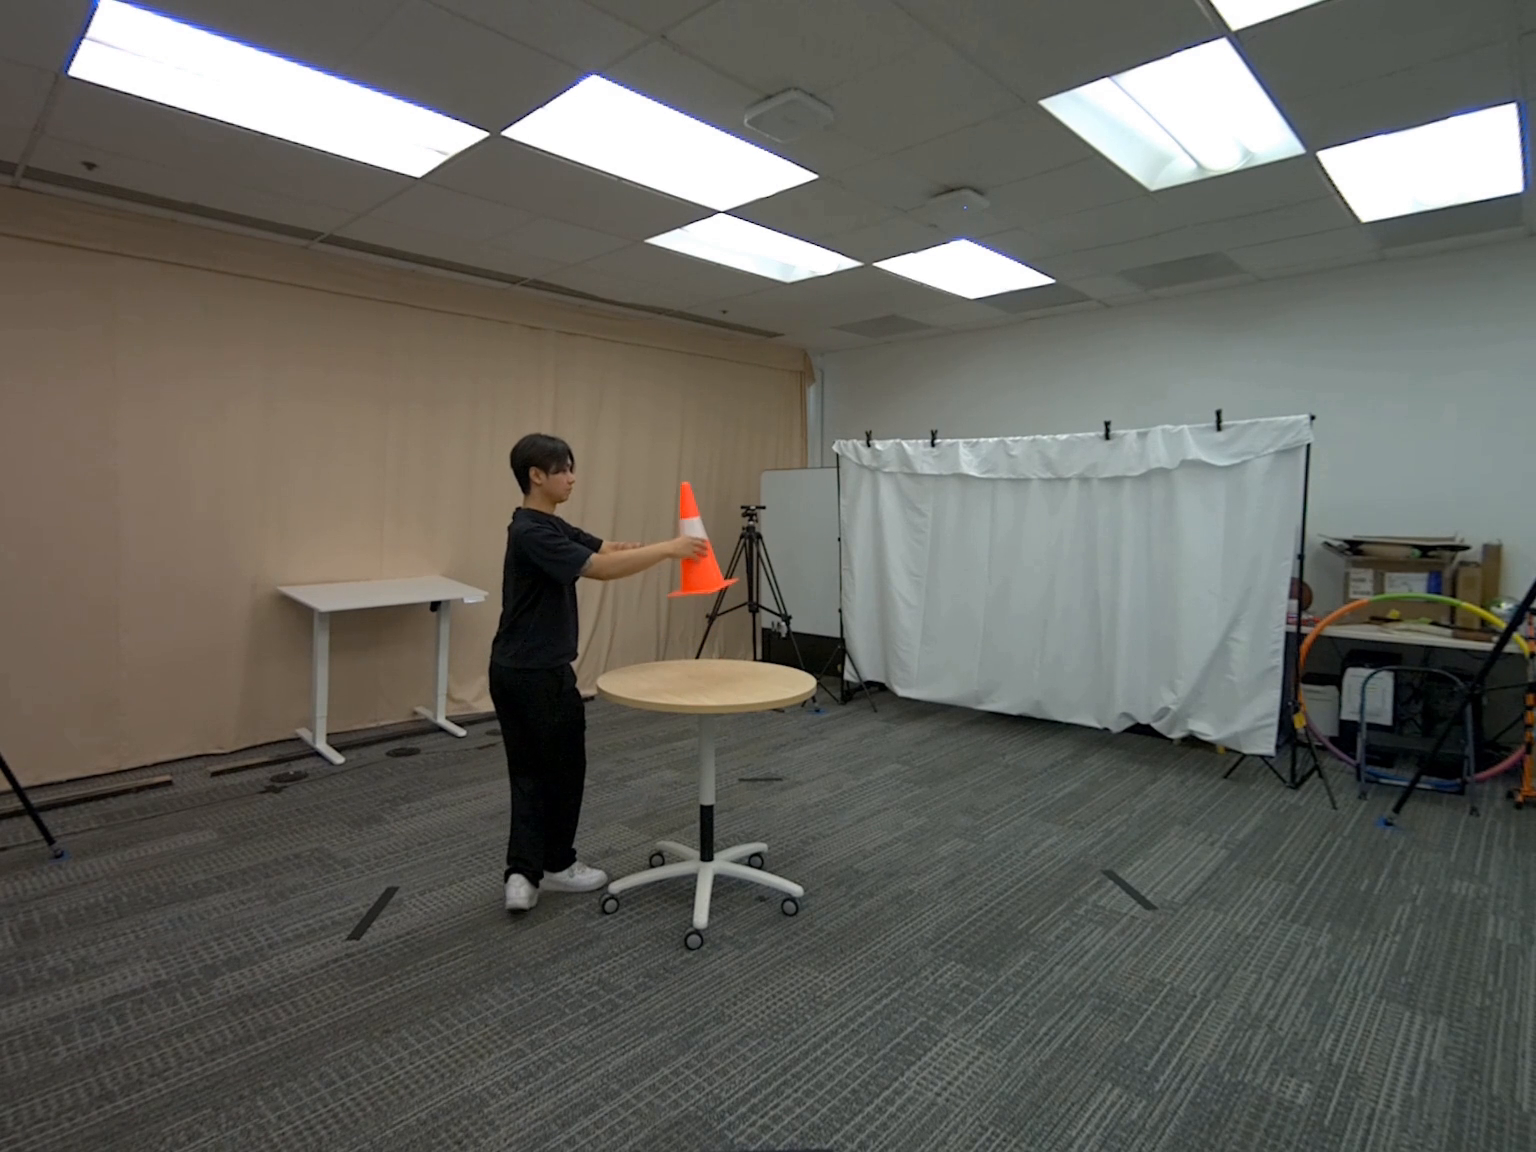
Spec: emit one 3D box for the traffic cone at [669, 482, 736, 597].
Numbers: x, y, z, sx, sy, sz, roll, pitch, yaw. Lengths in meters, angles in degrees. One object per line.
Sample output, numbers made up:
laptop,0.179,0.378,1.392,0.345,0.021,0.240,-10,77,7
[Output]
traffic cone,-0.266,-0.144,2.988,0.208,0.382,0.200,-5,4,26
